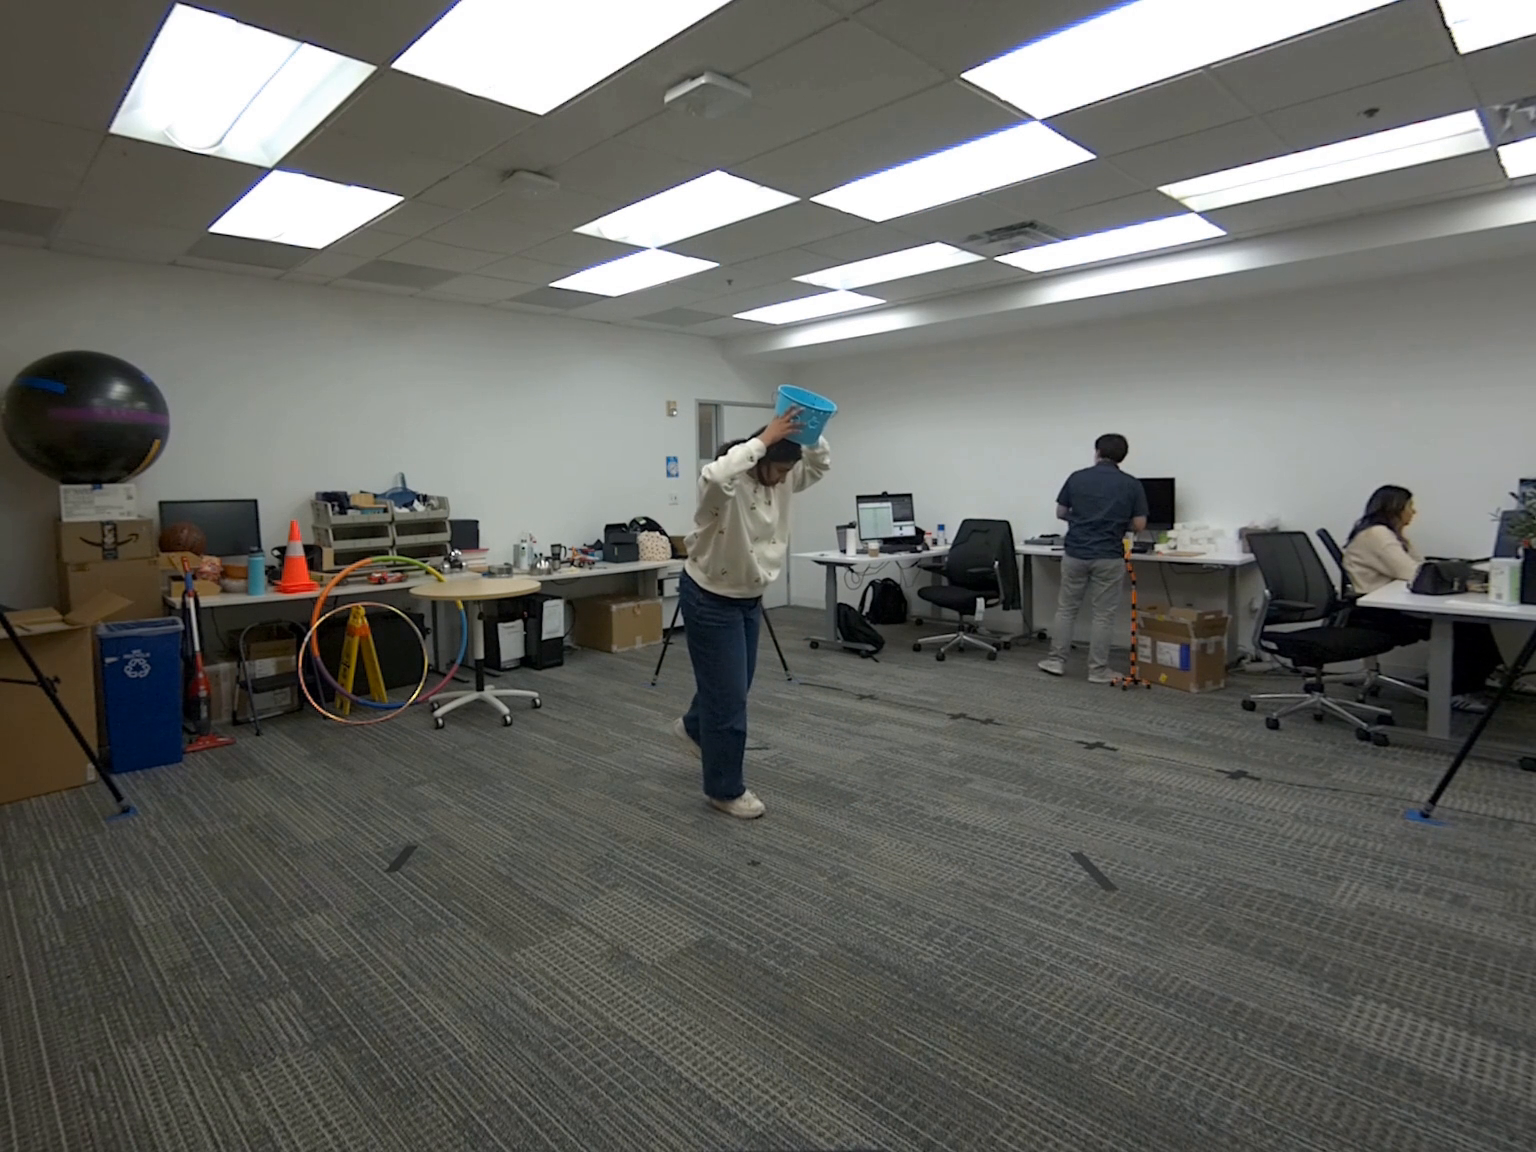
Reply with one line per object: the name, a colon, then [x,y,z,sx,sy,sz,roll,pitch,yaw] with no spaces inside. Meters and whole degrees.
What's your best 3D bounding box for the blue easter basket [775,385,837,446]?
blue easter basket: [0.135,-0.597,3.187,0.241,0.154,0.249,15,25,-9]
